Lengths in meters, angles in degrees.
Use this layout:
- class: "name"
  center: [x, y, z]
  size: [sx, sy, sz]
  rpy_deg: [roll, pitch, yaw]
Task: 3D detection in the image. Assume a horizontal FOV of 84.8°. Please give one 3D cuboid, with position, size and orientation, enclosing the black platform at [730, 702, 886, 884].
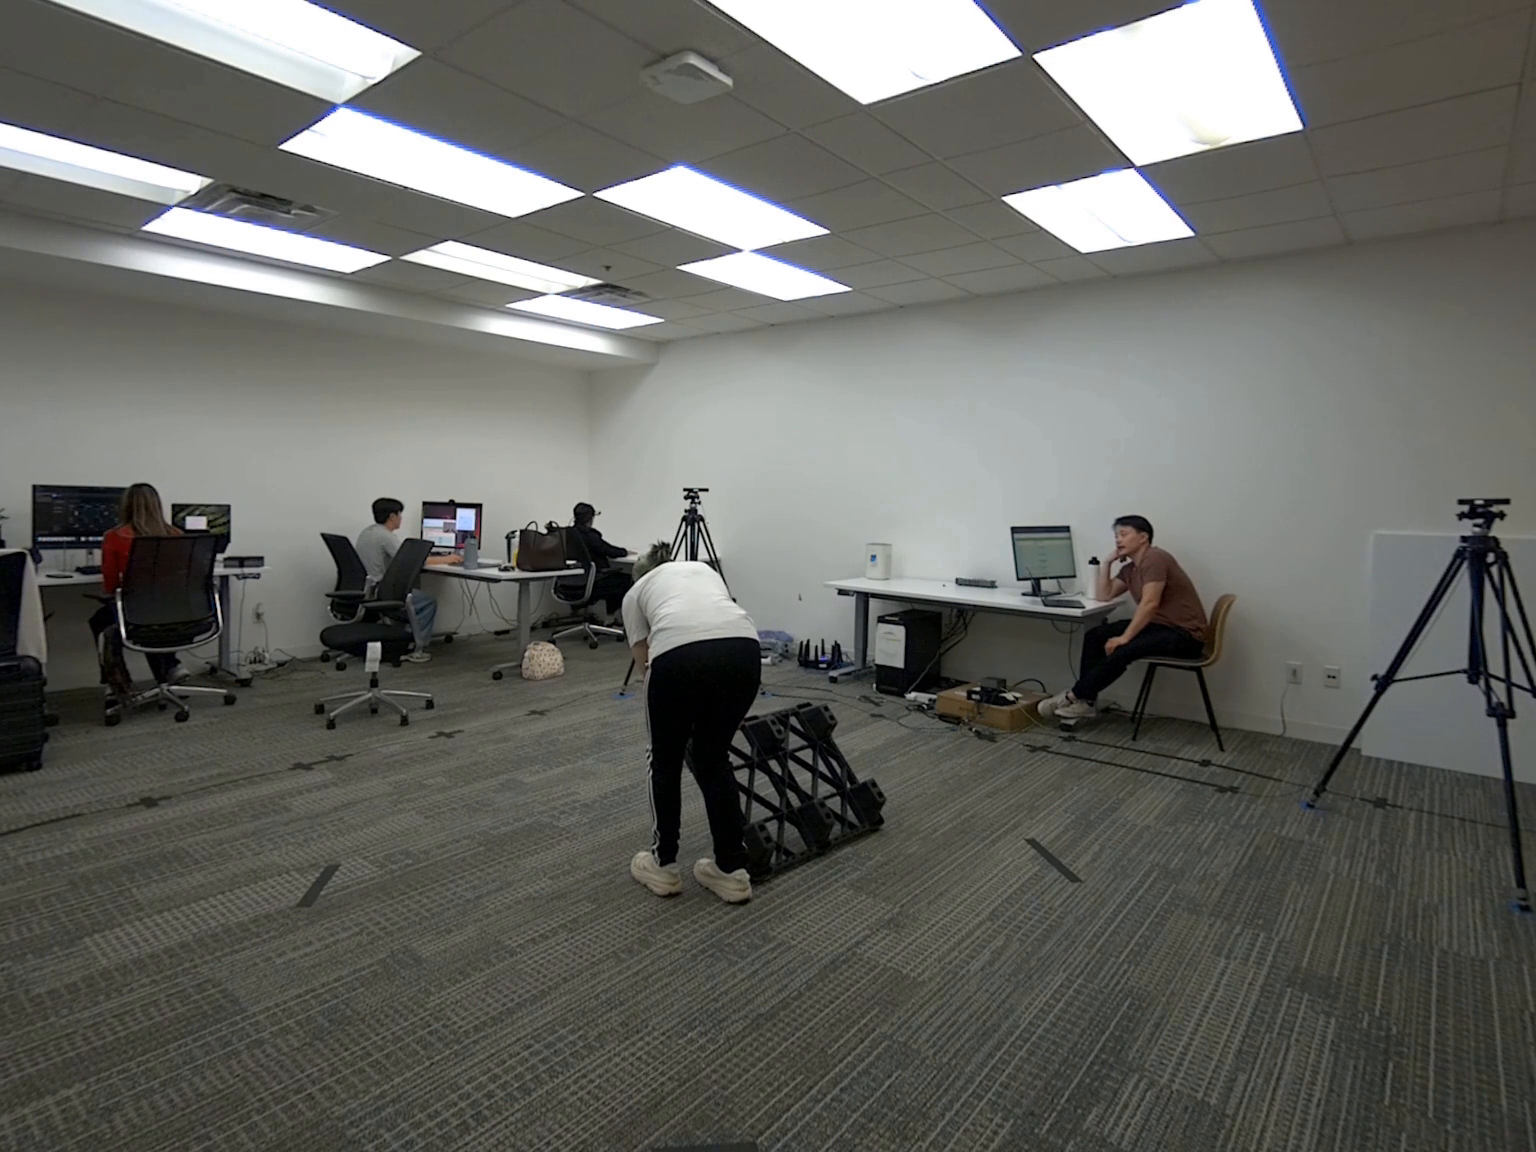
- class: "black platform"
  center: [0.079, 0.797, 3.368]
  size: [0.781, 0.626, 0.143]
  rpy_deg: [-4, -39, -46]
